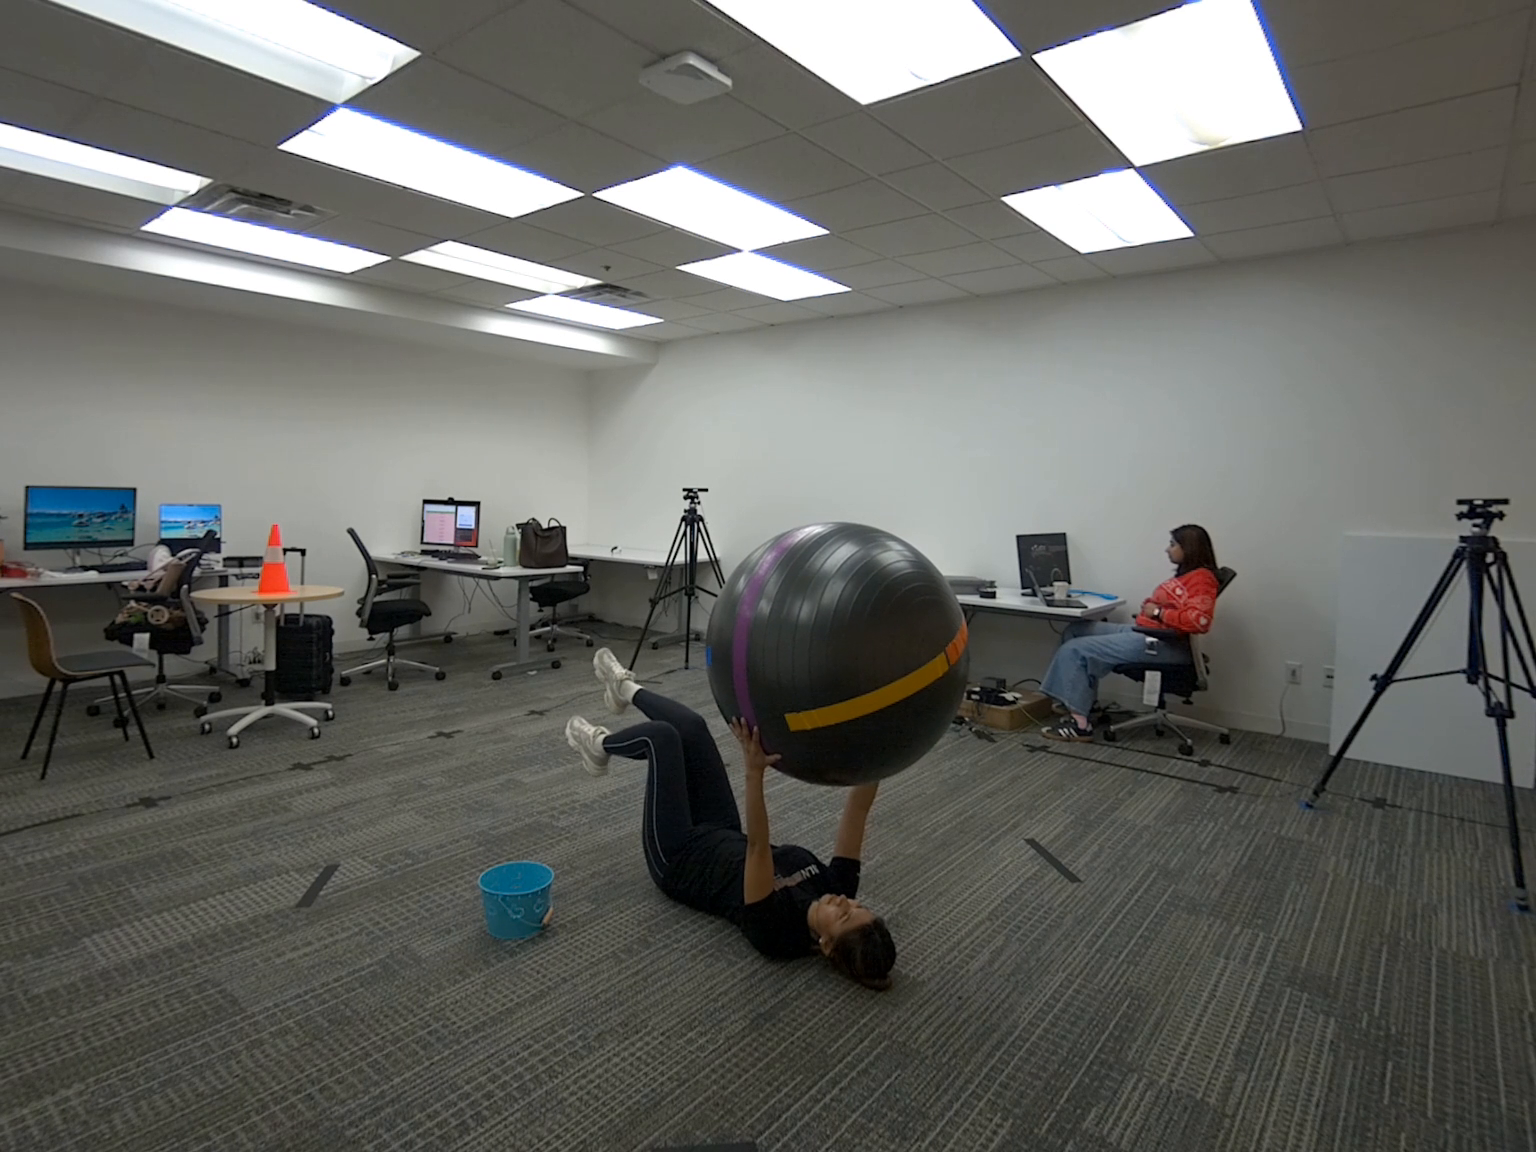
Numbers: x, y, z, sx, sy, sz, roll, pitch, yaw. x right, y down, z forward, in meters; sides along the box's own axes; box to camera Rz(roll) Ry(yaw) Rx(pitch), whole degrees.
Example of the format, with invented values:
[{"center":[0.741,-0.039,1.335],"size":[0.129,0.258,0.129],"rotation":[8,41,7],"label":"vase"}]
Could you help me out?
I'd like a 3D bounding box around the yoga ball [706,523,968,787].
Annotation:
[{"center":[0.191,0.223,2.480],"size":[0.757,0.756,0.761],"rotation":[-3,3,-2],"label":"yoga ball"}]
